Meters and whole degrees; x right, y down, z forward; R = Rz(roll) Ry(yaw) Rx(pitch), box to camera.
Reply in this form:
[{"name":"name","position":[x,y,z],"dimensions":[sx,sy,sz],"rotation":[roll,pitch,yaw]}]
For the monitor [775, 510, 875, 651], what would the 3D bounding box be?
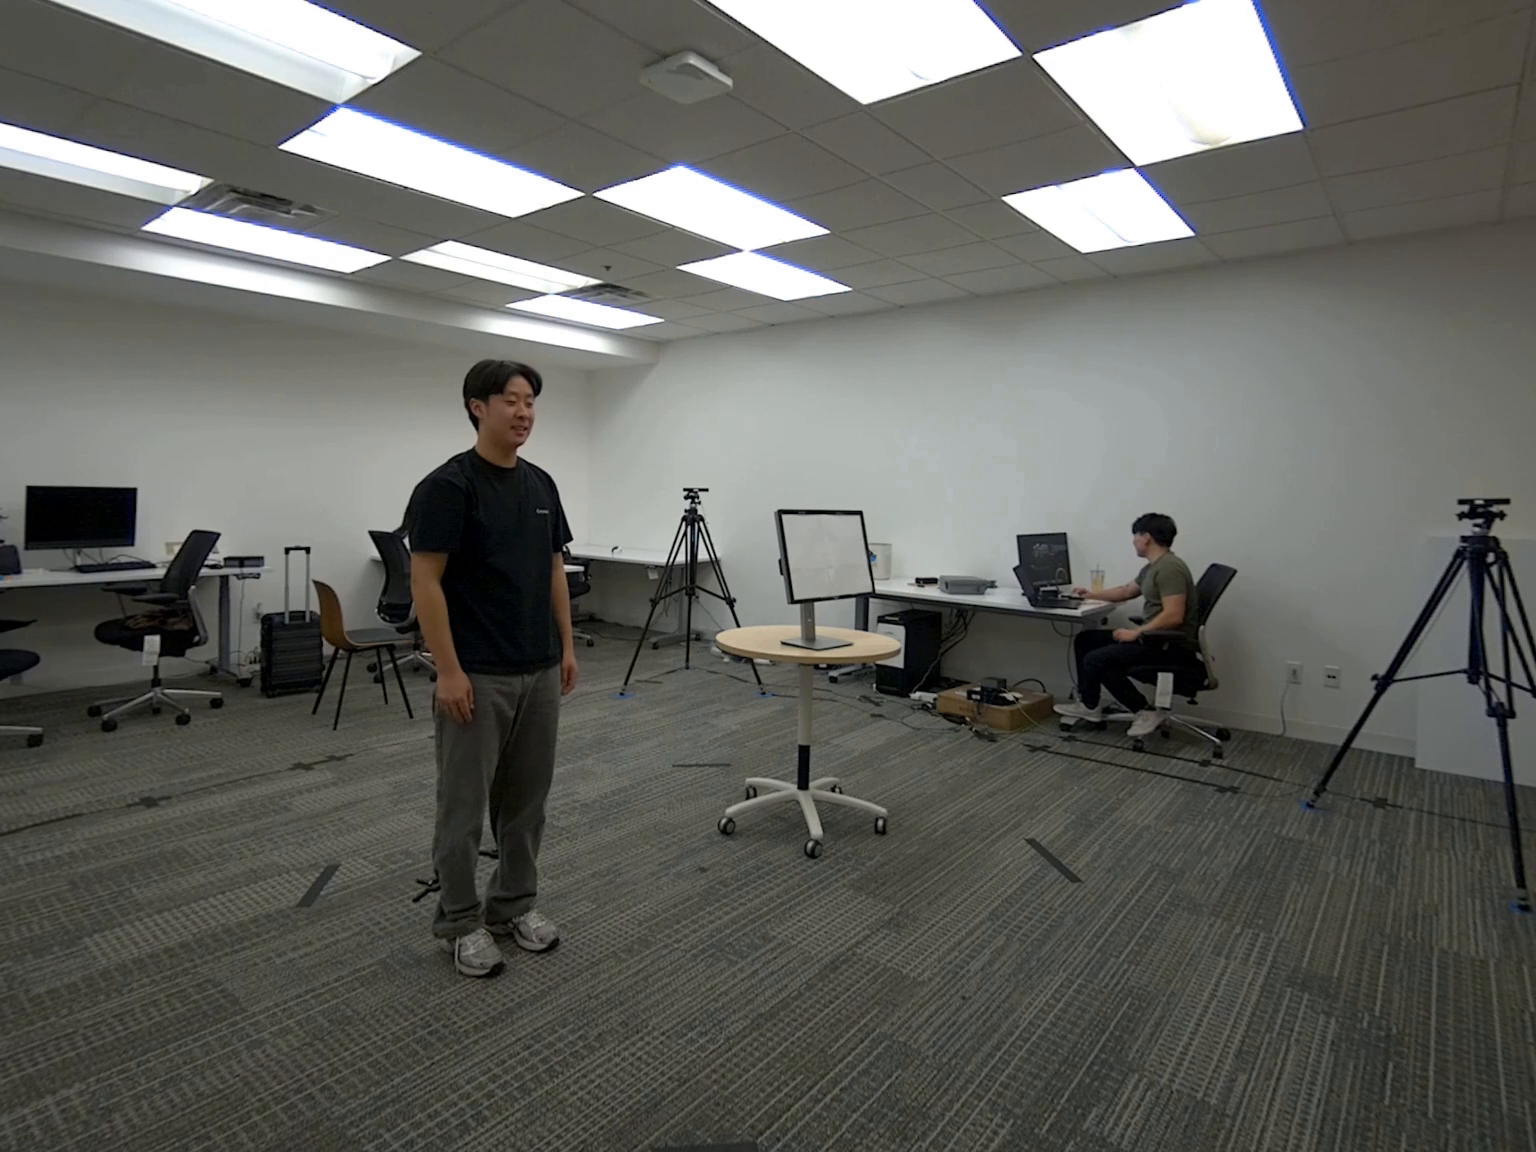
[{"name":"monitor","position":[0.183,0.005,3.447],"dimensions":[0.216,0.555,0.548],"rotation":[-5,-1,42]}]
